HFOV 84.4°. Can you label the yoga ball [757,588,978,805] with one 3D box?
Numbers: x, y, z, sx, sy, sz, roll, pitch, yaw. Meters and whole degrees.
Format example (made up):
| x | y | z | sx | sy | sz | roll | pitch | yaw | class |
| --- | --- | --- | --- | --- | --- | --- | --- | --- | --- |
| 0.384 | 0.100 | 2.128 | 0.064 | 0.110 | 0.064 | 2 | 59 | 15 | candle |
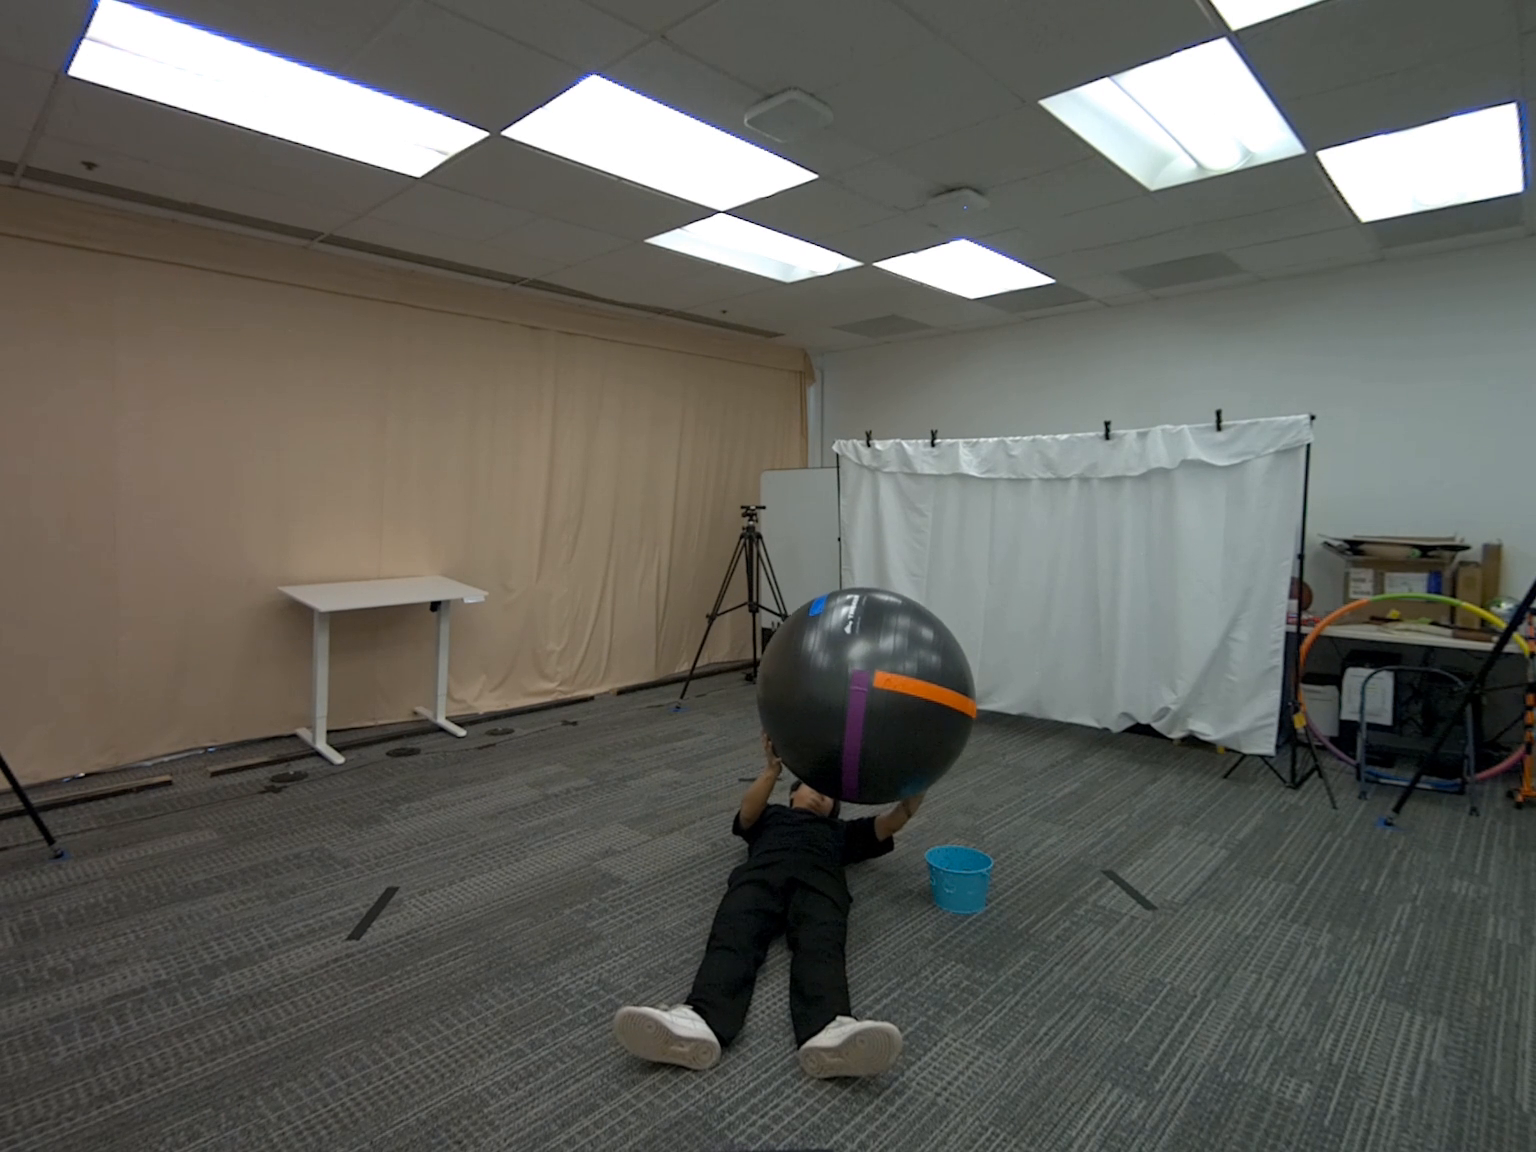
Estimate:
| x | y | z | sx | sy | sz | roll | pitch | yaw | class |
| --- | --- | --- | --- | --- | --- | --- | --- | --- | --- |
| 0.342 | 0.424 | 2.999 | 0.757 | 0.756 | 0.760 | 0 | 4 | -2 | yoga ball |
